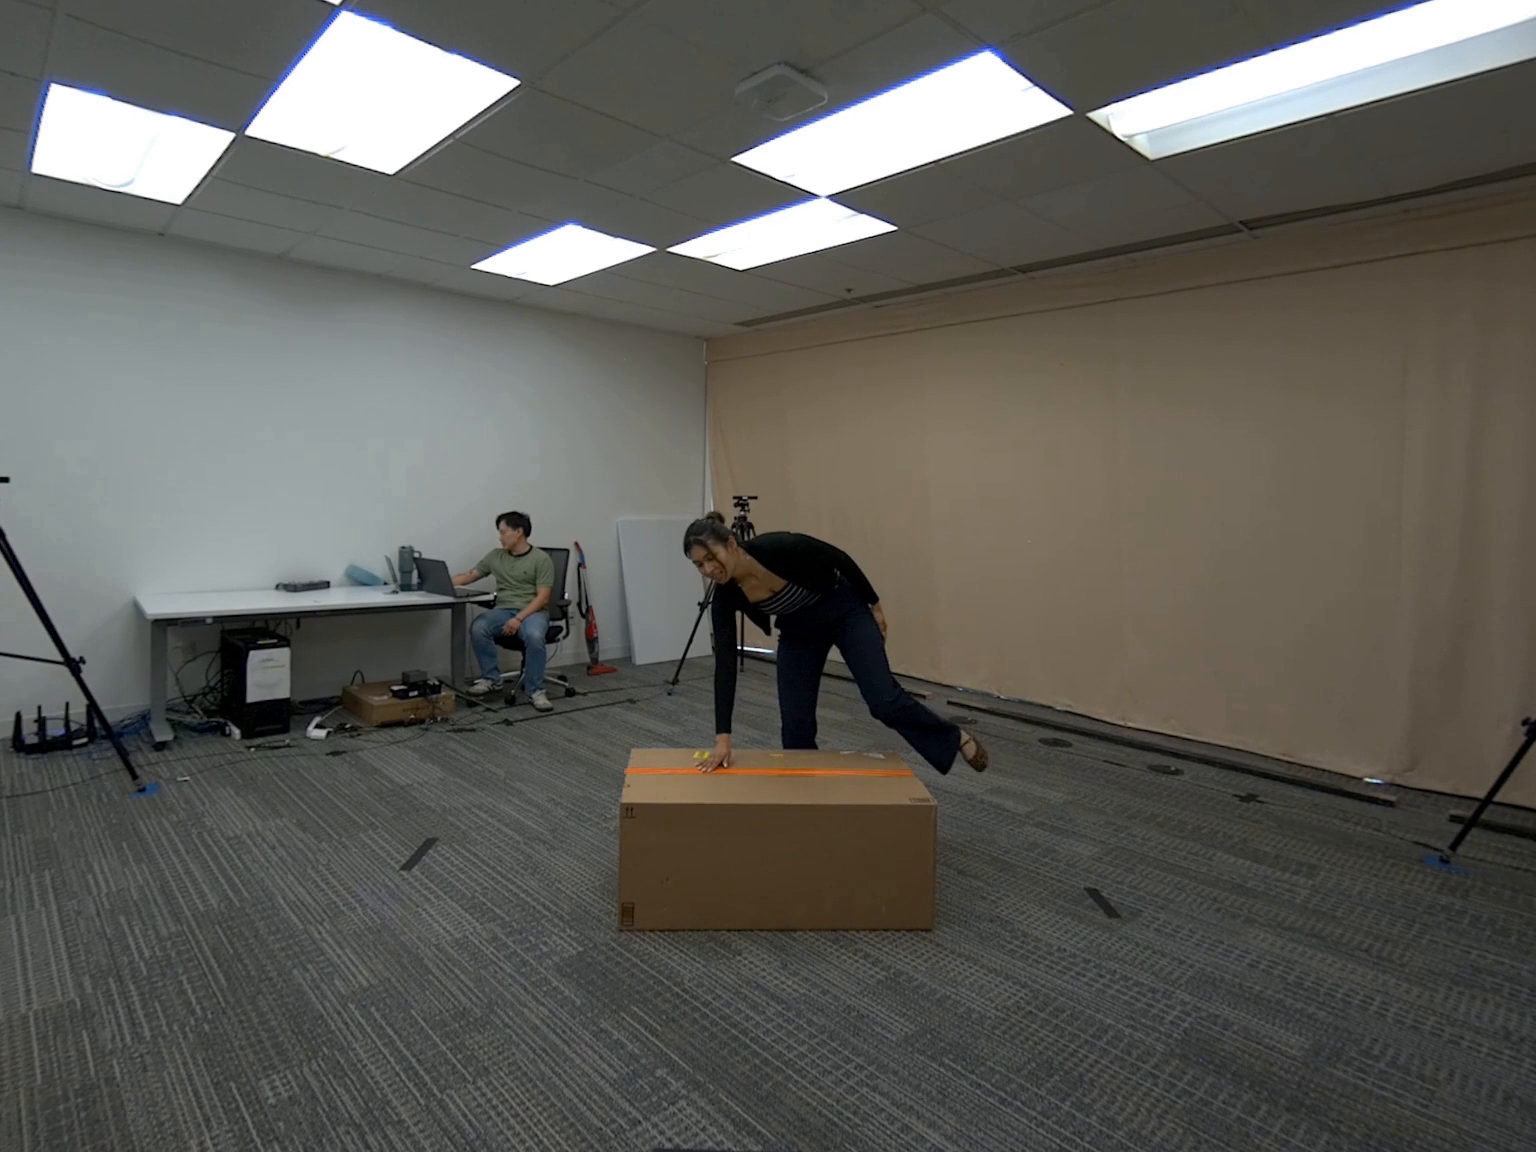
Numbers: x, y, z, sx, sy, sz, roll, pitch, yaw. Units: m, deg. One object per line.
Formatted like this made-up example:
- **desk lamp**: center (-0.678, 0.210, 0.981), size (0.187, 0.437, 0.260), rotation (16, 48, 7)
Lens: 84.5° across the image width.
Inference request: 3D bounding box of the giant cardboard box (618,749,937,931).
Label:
- **giant cardboard box**: center (0.002, 0.900, 2.972), size (1.023, 0.425, 0.580), rotation (1, 4, -4)
